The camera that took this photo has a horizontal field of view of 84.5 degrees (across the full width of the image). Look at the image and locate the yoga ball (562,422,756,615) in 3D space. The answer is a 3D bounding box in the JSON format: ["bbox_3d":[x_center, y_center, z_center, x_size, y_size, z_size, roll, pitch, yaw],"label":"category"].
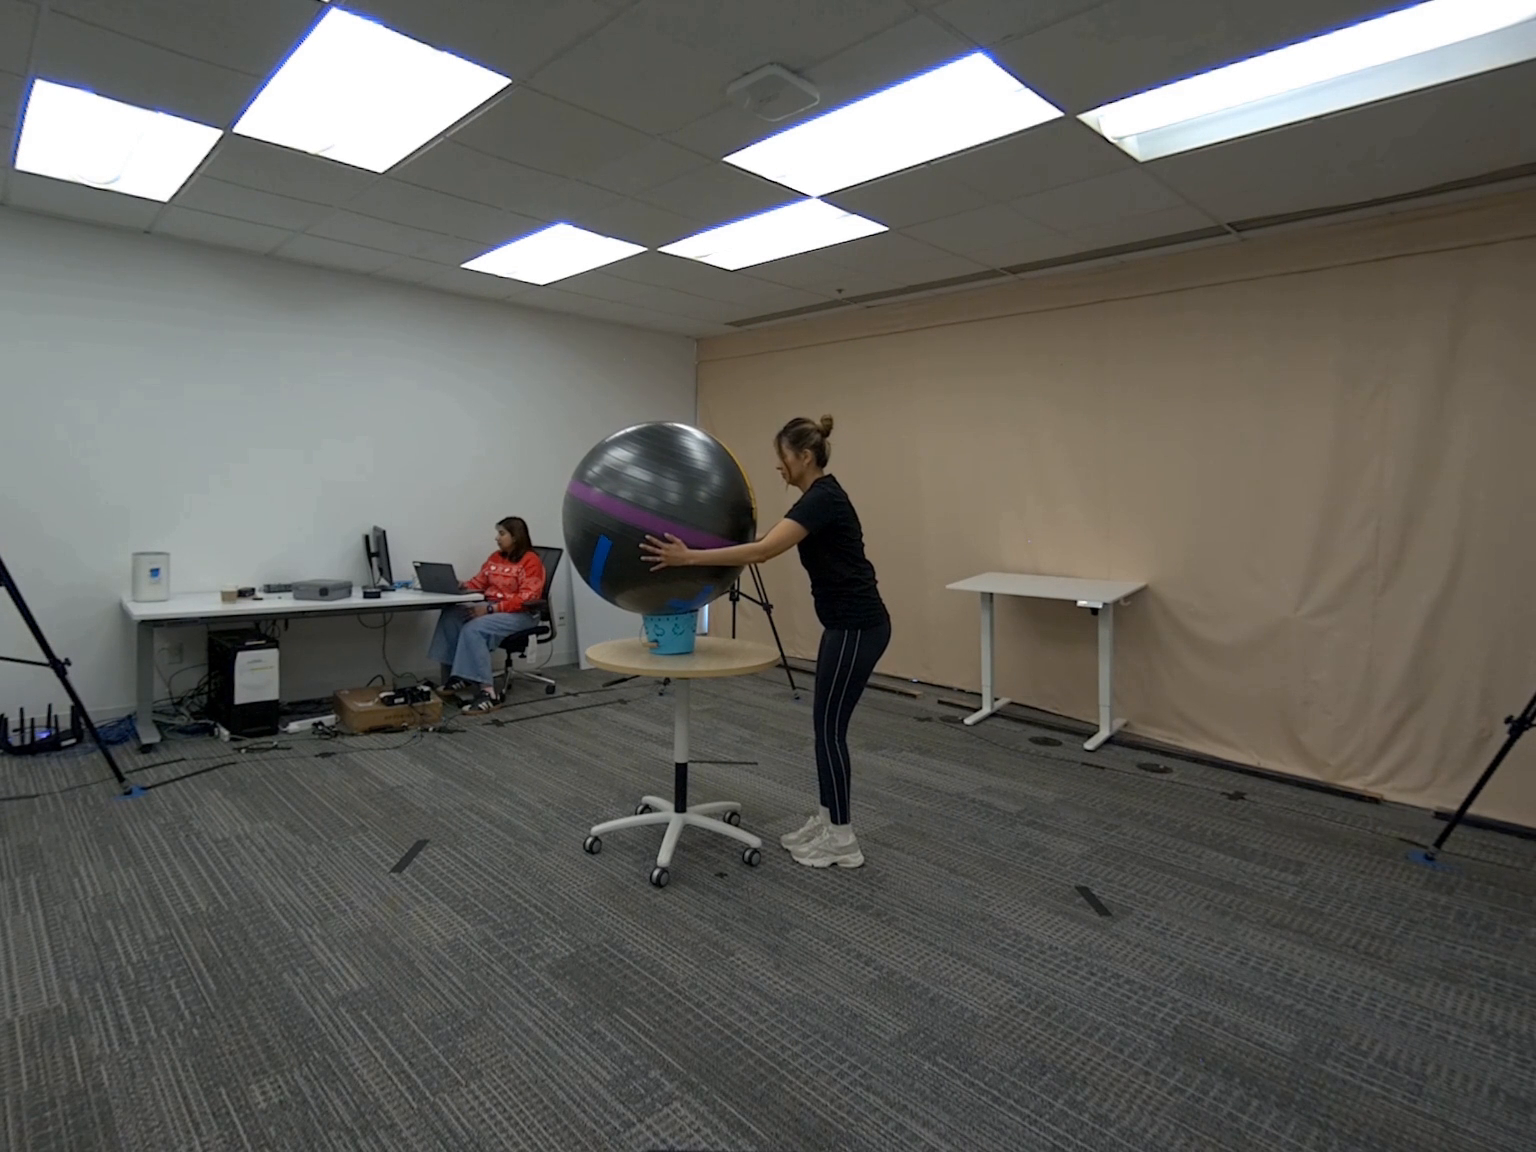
[{"bbox_3d":[-0.437,-0.216,3.292,0.757,0.756,0.761,1,4,-1],"label":"yoga ball"}]
